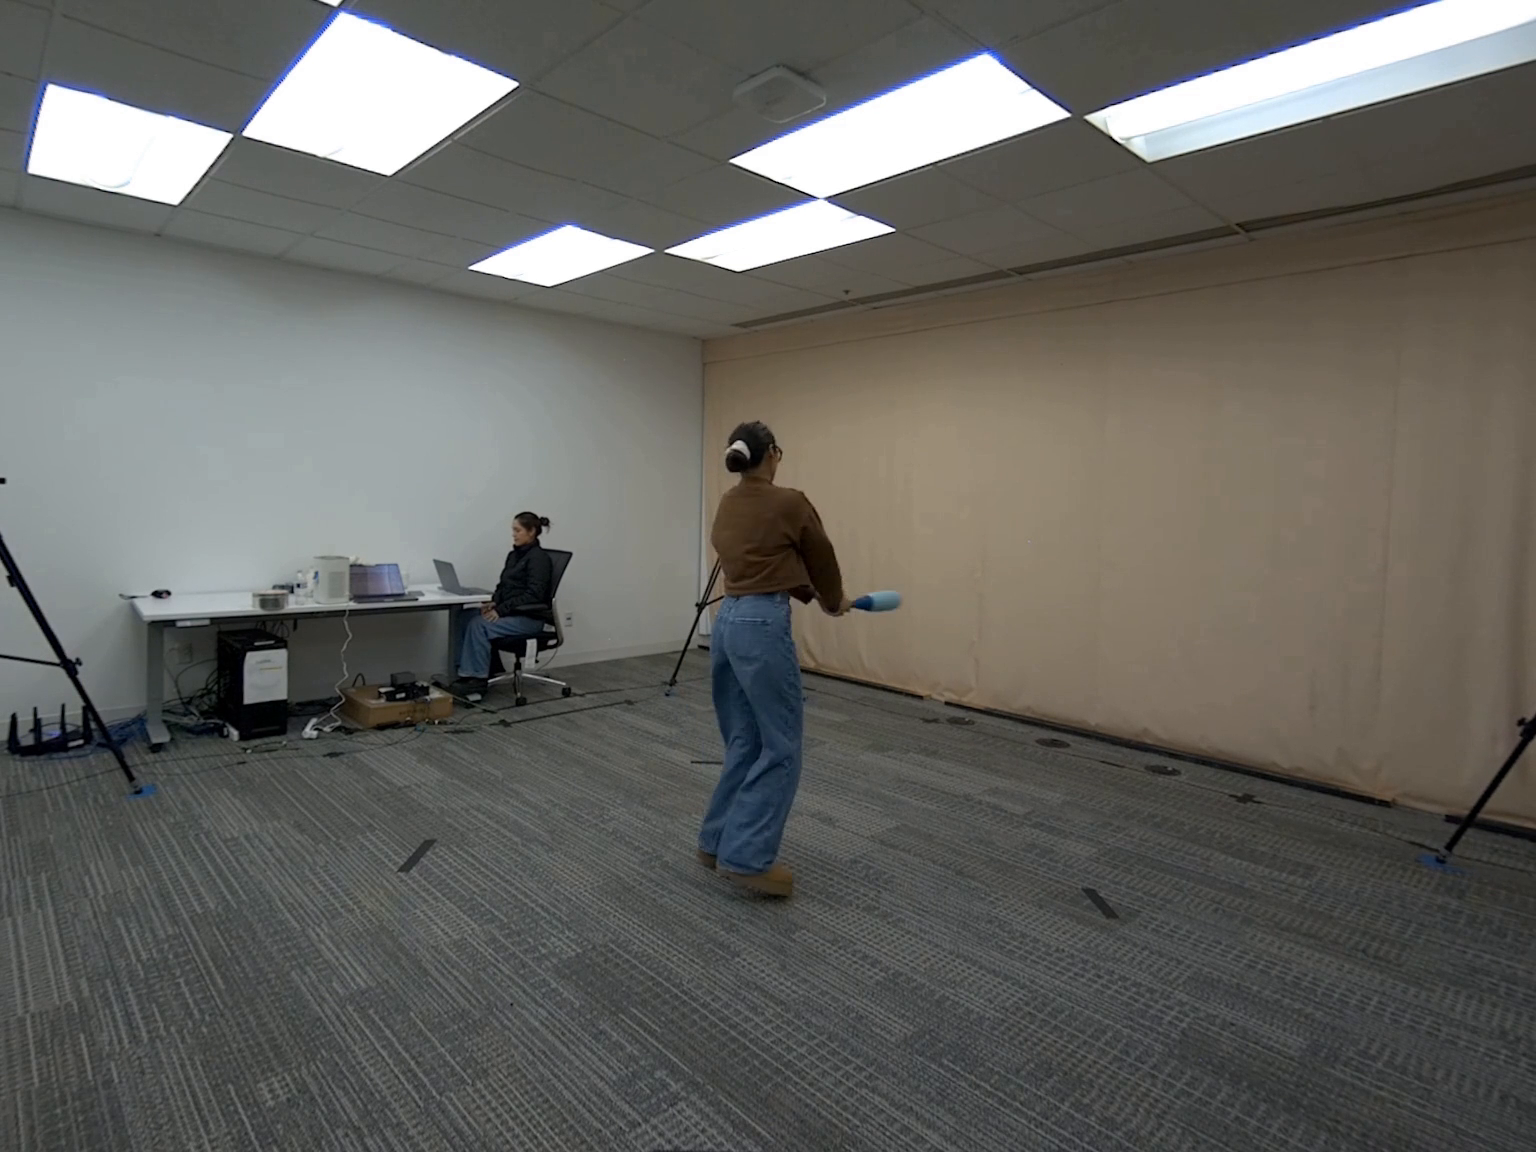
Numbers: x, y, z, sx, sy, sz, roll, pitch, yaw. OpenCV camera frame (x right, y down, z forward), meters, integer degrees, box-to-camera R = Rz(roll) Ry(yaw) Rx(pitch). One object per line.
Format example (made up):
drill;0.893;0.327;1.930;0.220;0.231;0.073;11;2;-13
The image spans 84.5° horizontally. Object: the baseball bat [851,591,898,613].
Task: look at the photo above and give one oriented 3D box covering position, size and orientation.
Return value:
baseball bat;0.324;0.117;3.452;0.091;0.089;0.531;5;6;37
